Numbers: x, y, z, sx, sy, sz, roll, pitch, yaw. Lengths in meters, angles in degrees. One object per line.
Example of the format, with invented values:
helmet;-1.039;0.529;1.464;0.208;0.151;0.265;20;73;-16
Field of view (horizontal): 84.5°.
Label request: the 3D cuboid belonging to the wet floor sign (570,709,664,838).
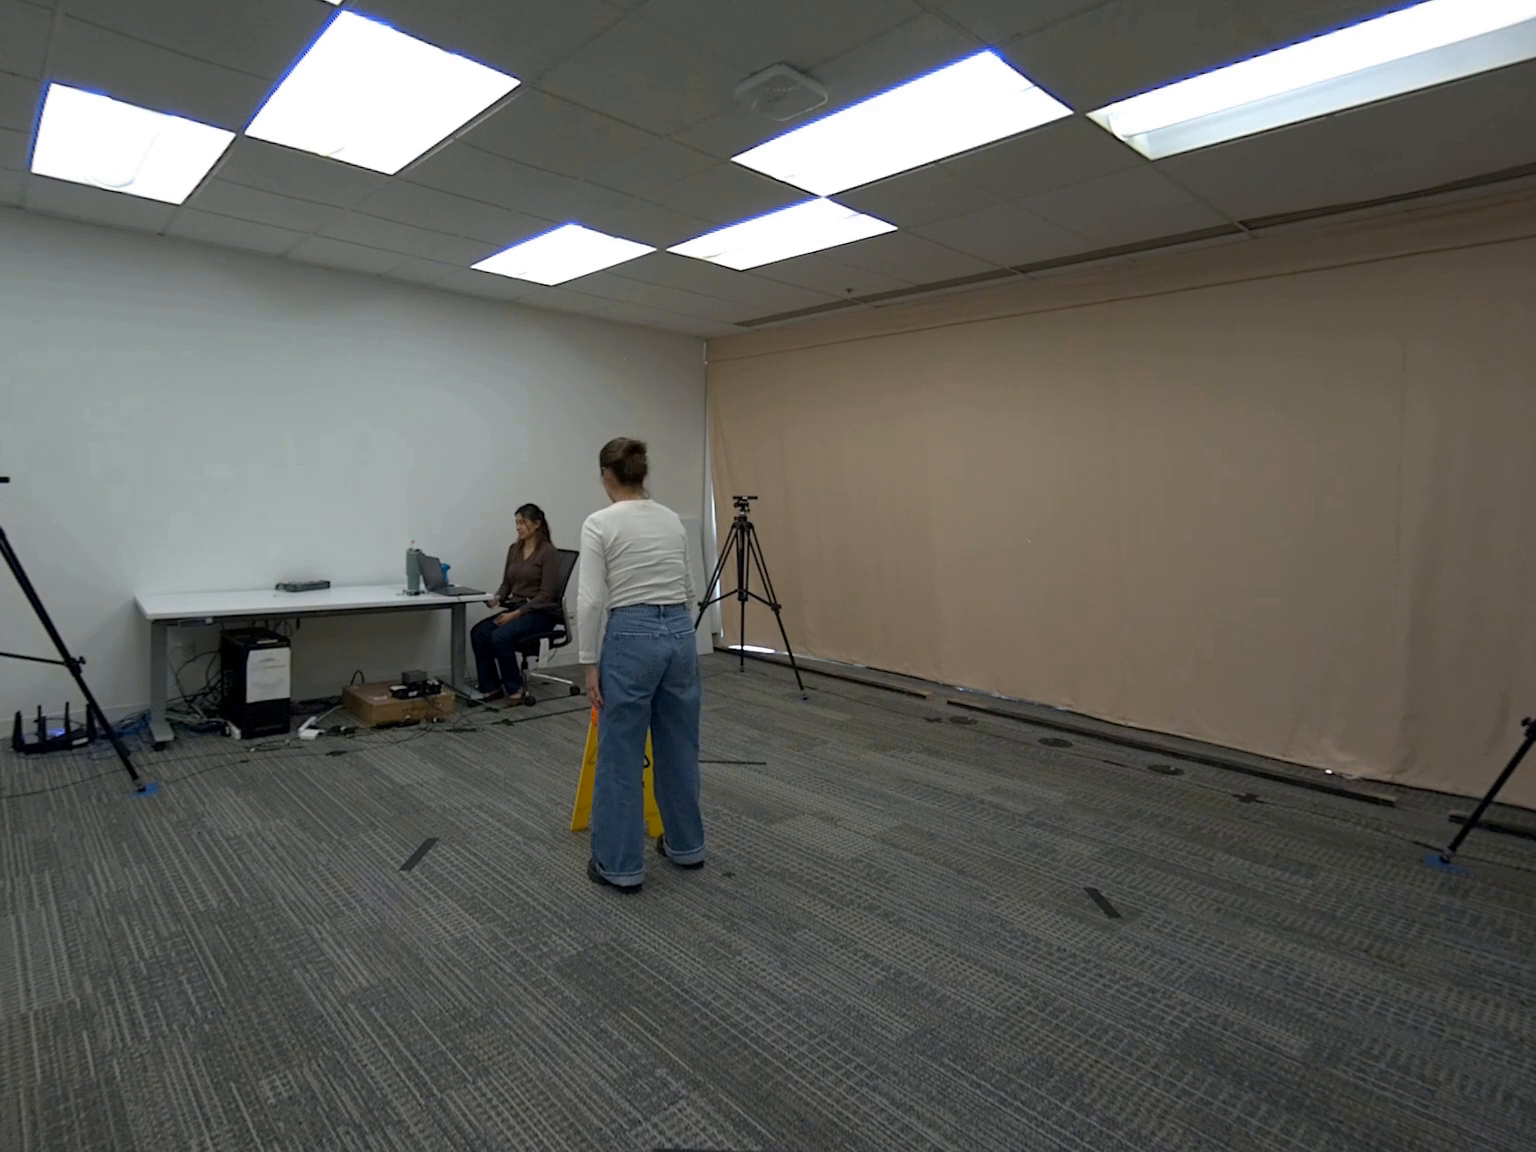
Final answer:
wet floor sign;-0.614;0.740;3.455;0.297;0.644;0.276;5;5;43
